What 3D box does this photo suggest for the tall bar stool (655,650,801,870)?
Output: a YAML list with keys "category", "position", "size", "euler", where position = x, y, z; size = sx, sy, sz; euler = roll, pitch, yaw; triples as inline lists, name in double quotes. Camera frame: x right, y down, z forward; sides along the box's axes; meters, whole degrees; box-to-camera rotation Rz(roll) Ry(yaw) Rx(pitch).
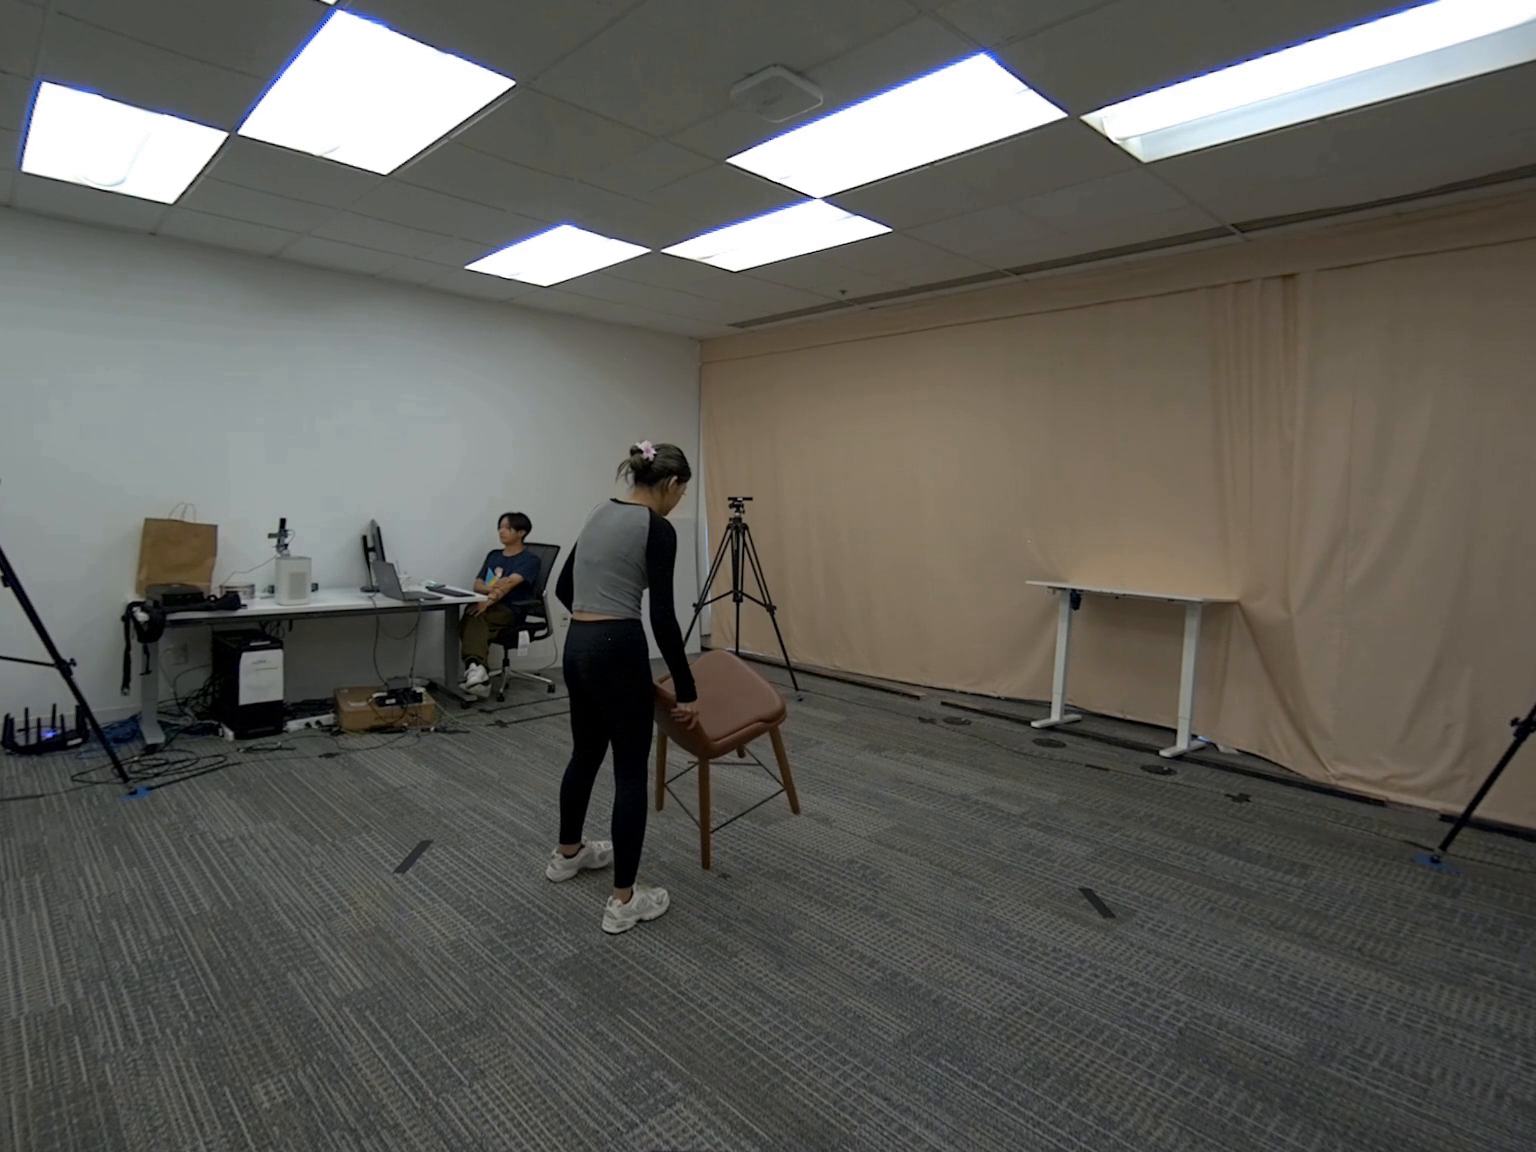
- category: "tall bar stool"
  position: [-0.213, 0.586, 3.148]
  size: [0.463, 0.869, 0.471]
  euler: [-26, 38, -25]
